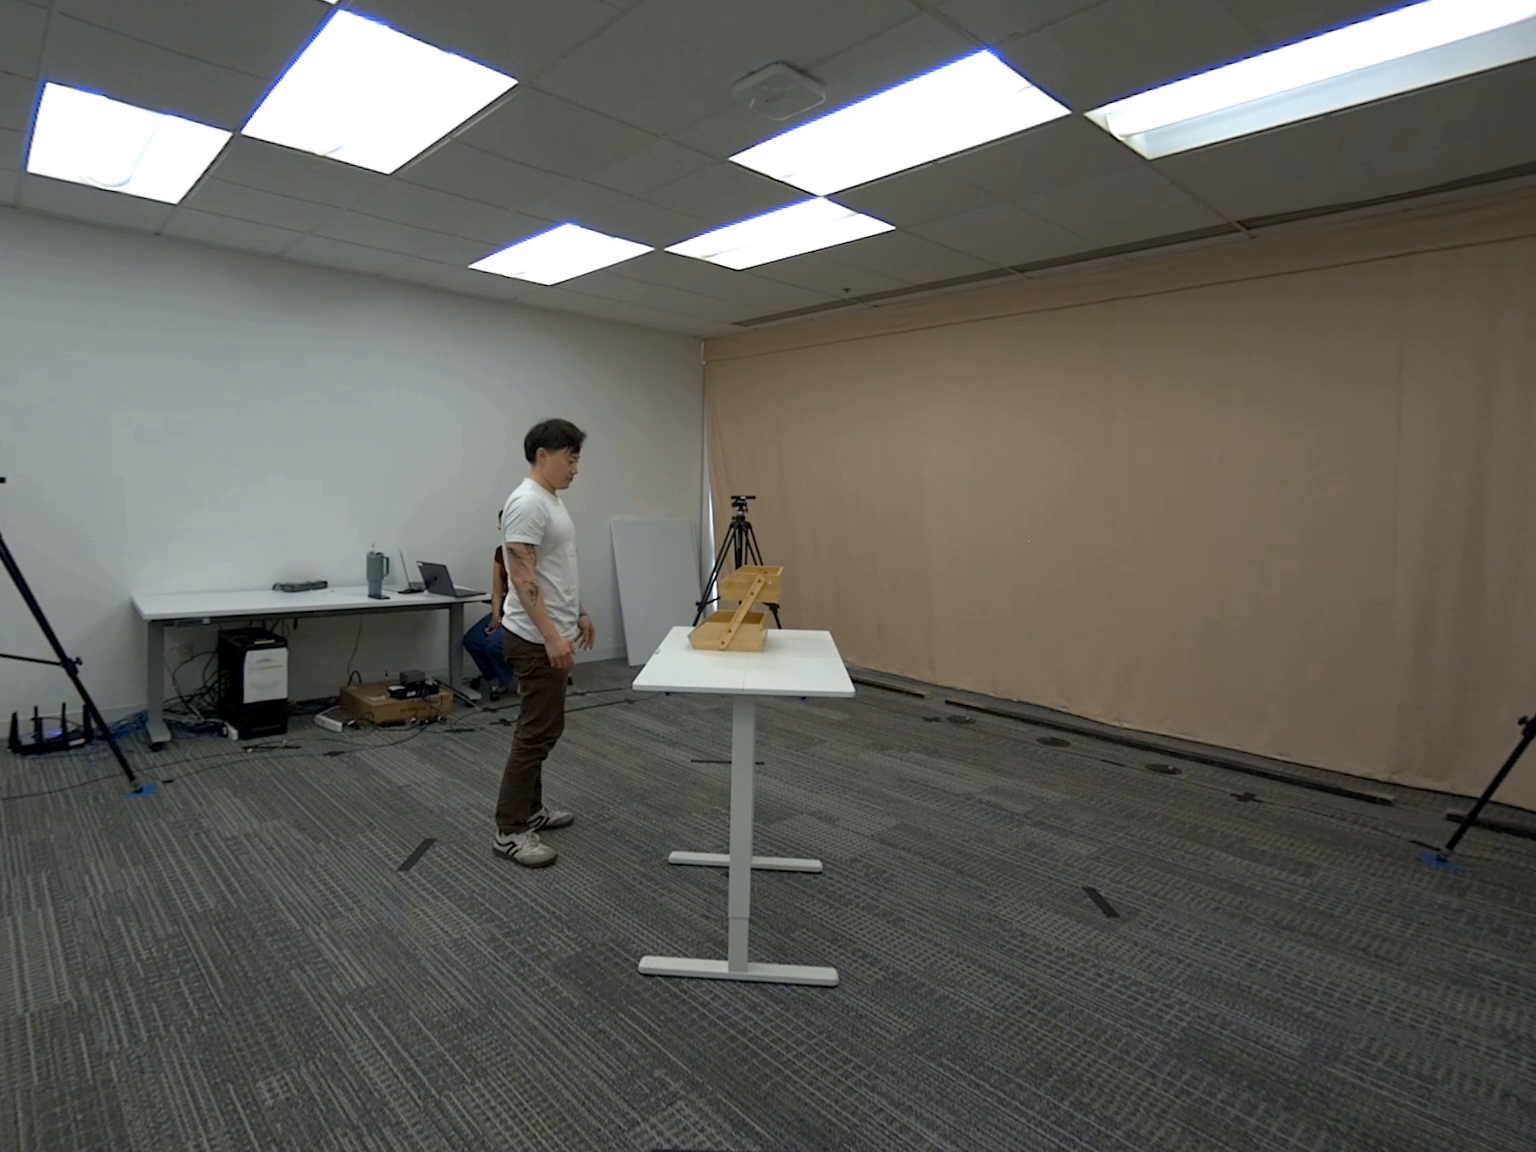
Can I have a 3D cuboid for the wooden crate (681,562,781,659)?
[{"bbox_3d":[-0.122,0.109,2.922,0.303,0.272,0.324,2,5,5],"label":"wooden crate"}]
